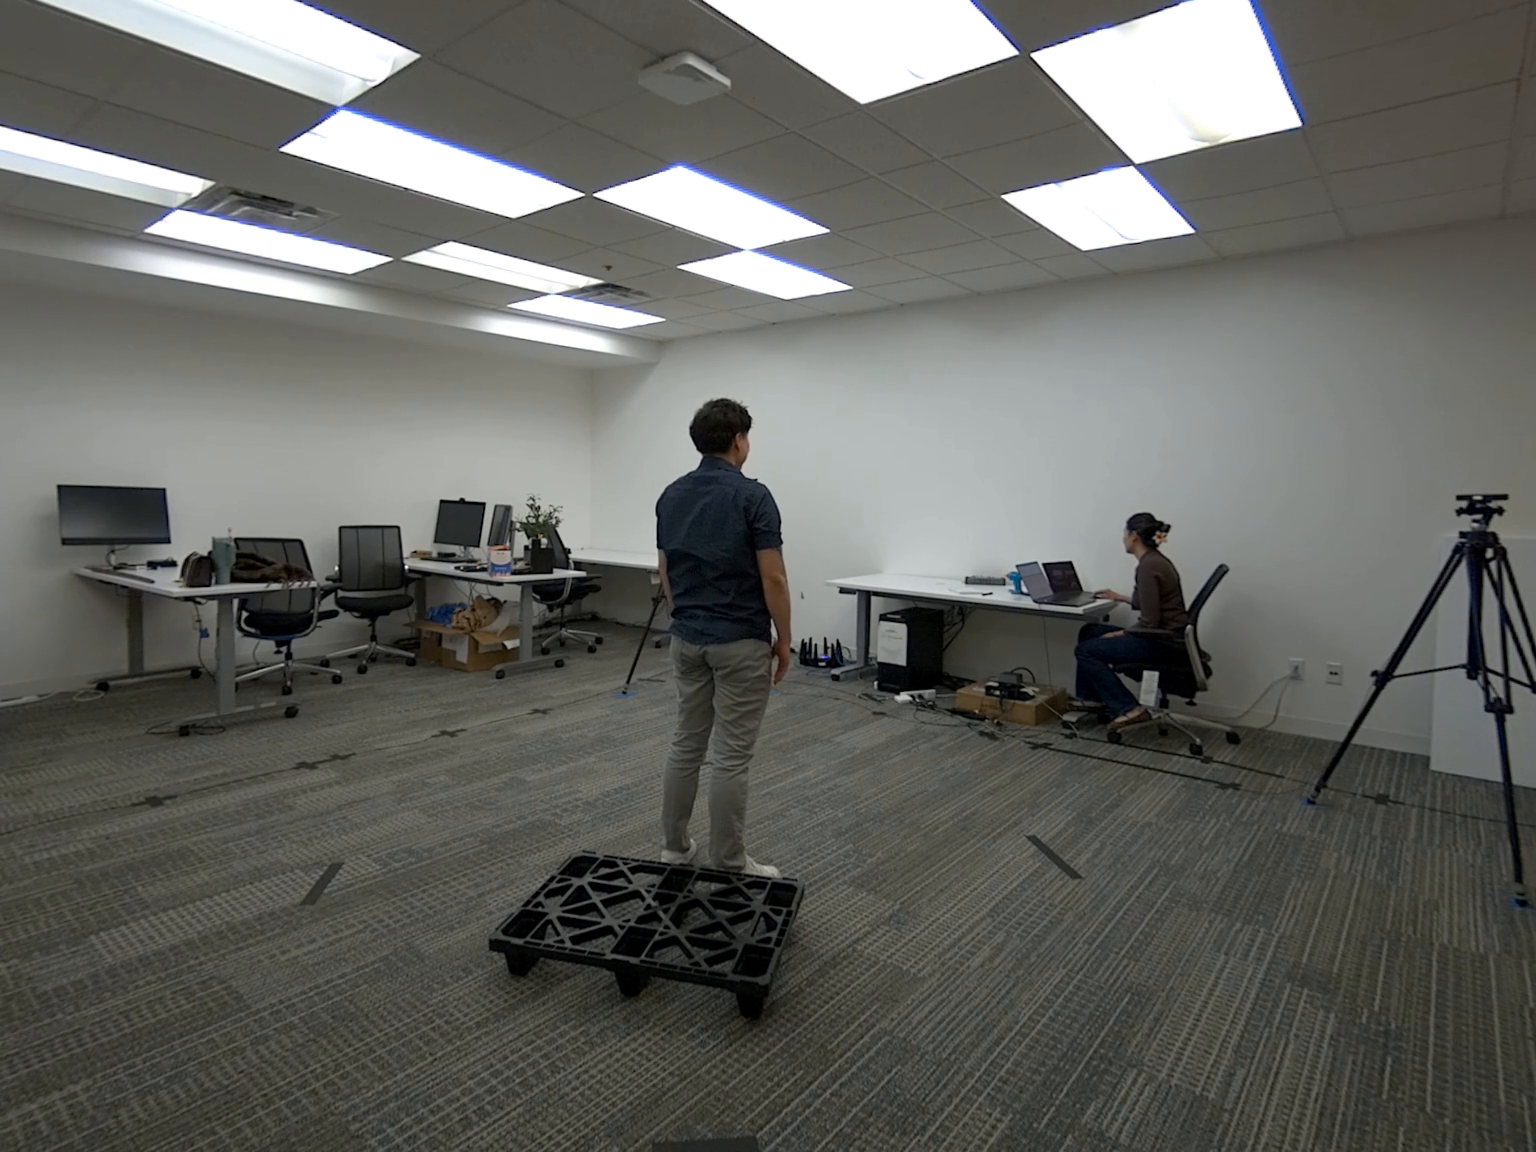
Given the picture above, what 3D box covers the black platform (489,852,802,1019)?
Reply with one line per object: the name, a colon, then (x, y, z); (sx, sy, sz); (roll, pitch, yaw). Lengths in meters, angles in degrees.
black platform: (-0.344, 1.050, 2.550); (0.819, 0.143, 0.598); (2, 6, 14)
